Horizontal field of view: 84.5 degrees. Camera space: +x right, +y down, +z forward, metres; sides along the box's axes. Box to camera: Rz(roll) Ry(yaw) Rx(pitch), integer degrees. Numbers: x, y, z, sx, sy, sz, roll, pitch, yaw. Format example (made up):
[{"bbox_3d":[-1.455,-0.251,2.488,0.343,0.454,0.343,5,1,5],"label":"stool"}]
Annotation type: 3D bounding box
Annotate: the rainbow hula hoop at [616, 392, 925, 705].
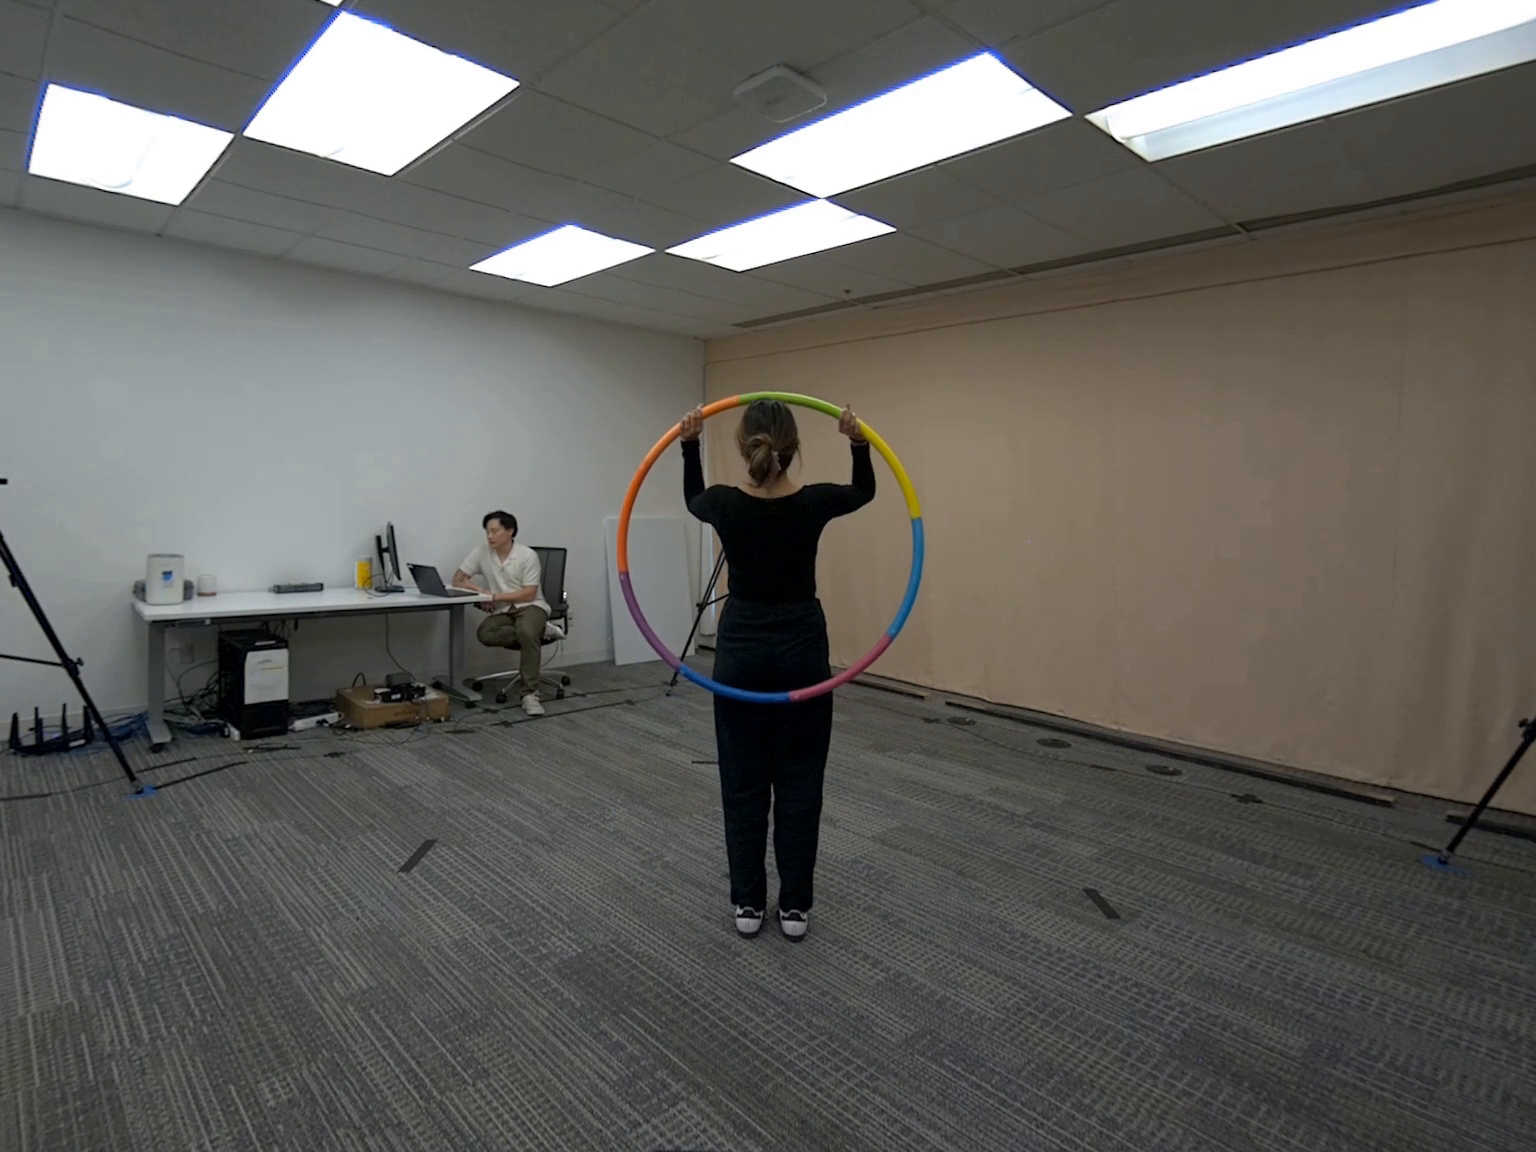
[{"bbox_3d":[-0.020,-0.089,2.665,0.989,0.981,0.035,2,-3,14],"label":"rainbow hula hoop"}]
